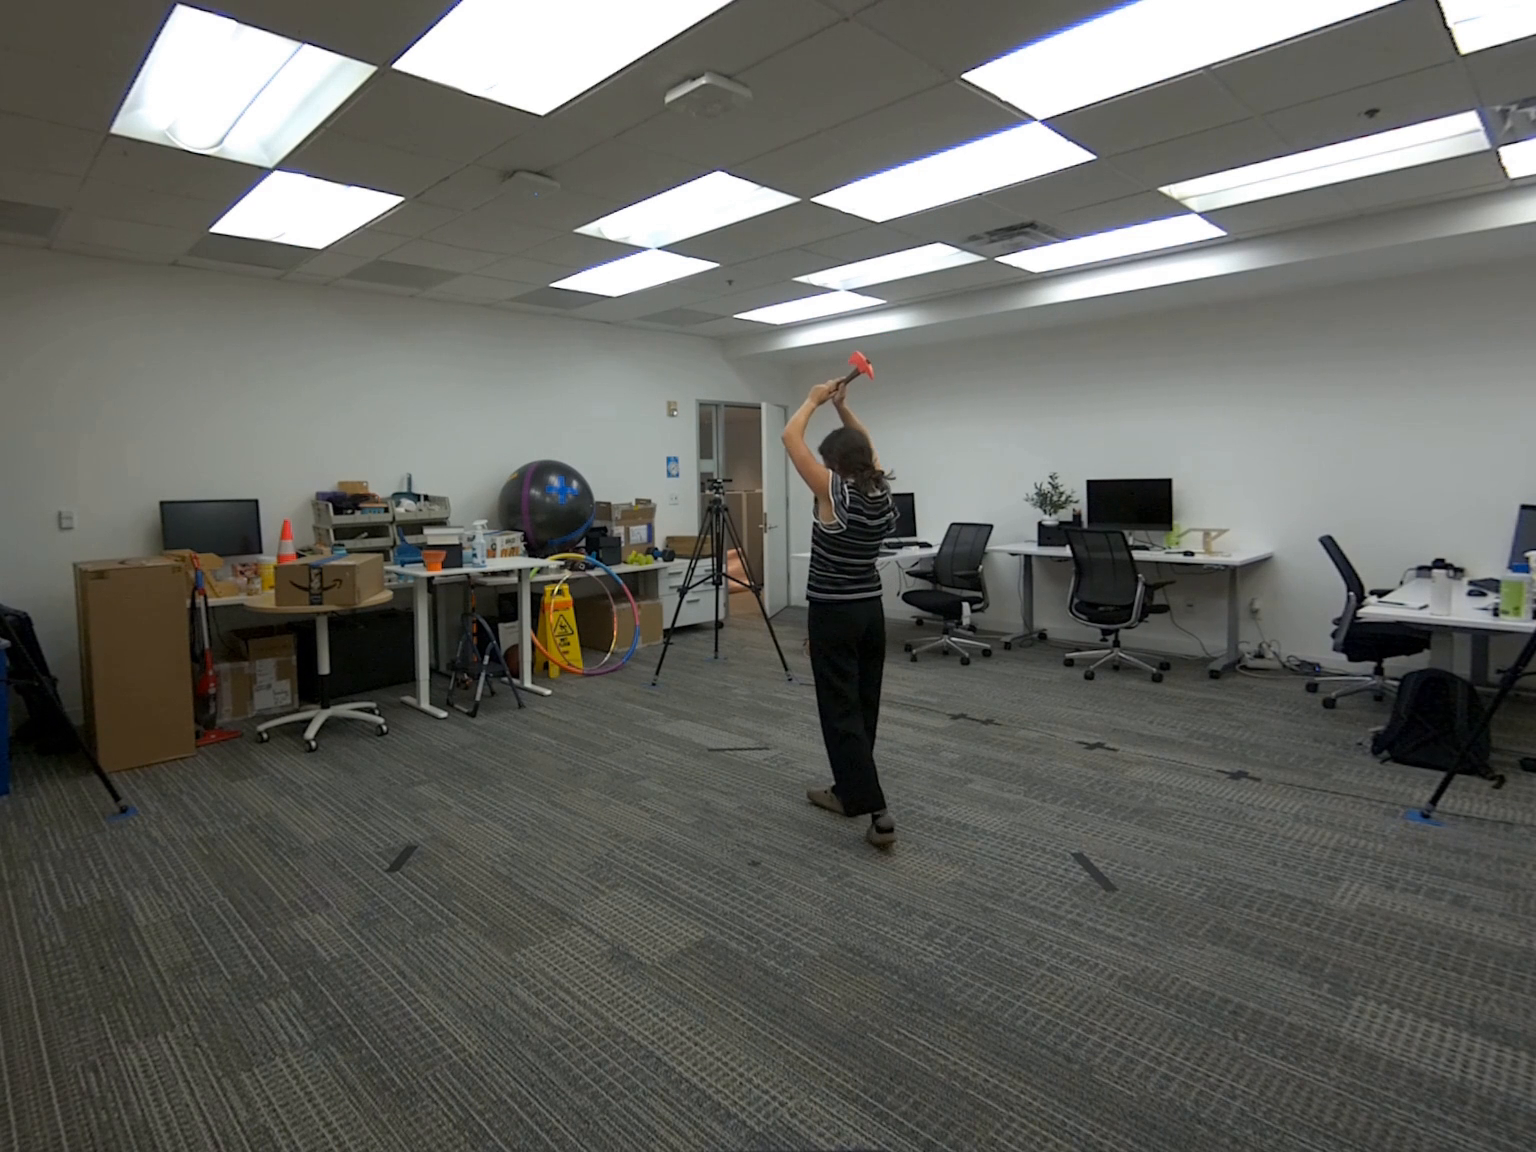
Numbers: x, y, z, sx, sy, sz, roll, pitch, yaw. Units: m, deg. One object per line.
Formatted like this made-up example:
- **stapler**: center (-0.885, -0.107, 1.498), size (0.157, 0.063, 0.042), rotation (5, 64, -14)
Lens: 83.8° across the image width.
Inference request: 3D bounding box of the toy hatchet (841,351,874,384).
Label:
- **toy hatchet**: center (0.290, -0.818, 3.445), size (0.276, 0.131, 0.029), rotation (-12, 0, 36)
